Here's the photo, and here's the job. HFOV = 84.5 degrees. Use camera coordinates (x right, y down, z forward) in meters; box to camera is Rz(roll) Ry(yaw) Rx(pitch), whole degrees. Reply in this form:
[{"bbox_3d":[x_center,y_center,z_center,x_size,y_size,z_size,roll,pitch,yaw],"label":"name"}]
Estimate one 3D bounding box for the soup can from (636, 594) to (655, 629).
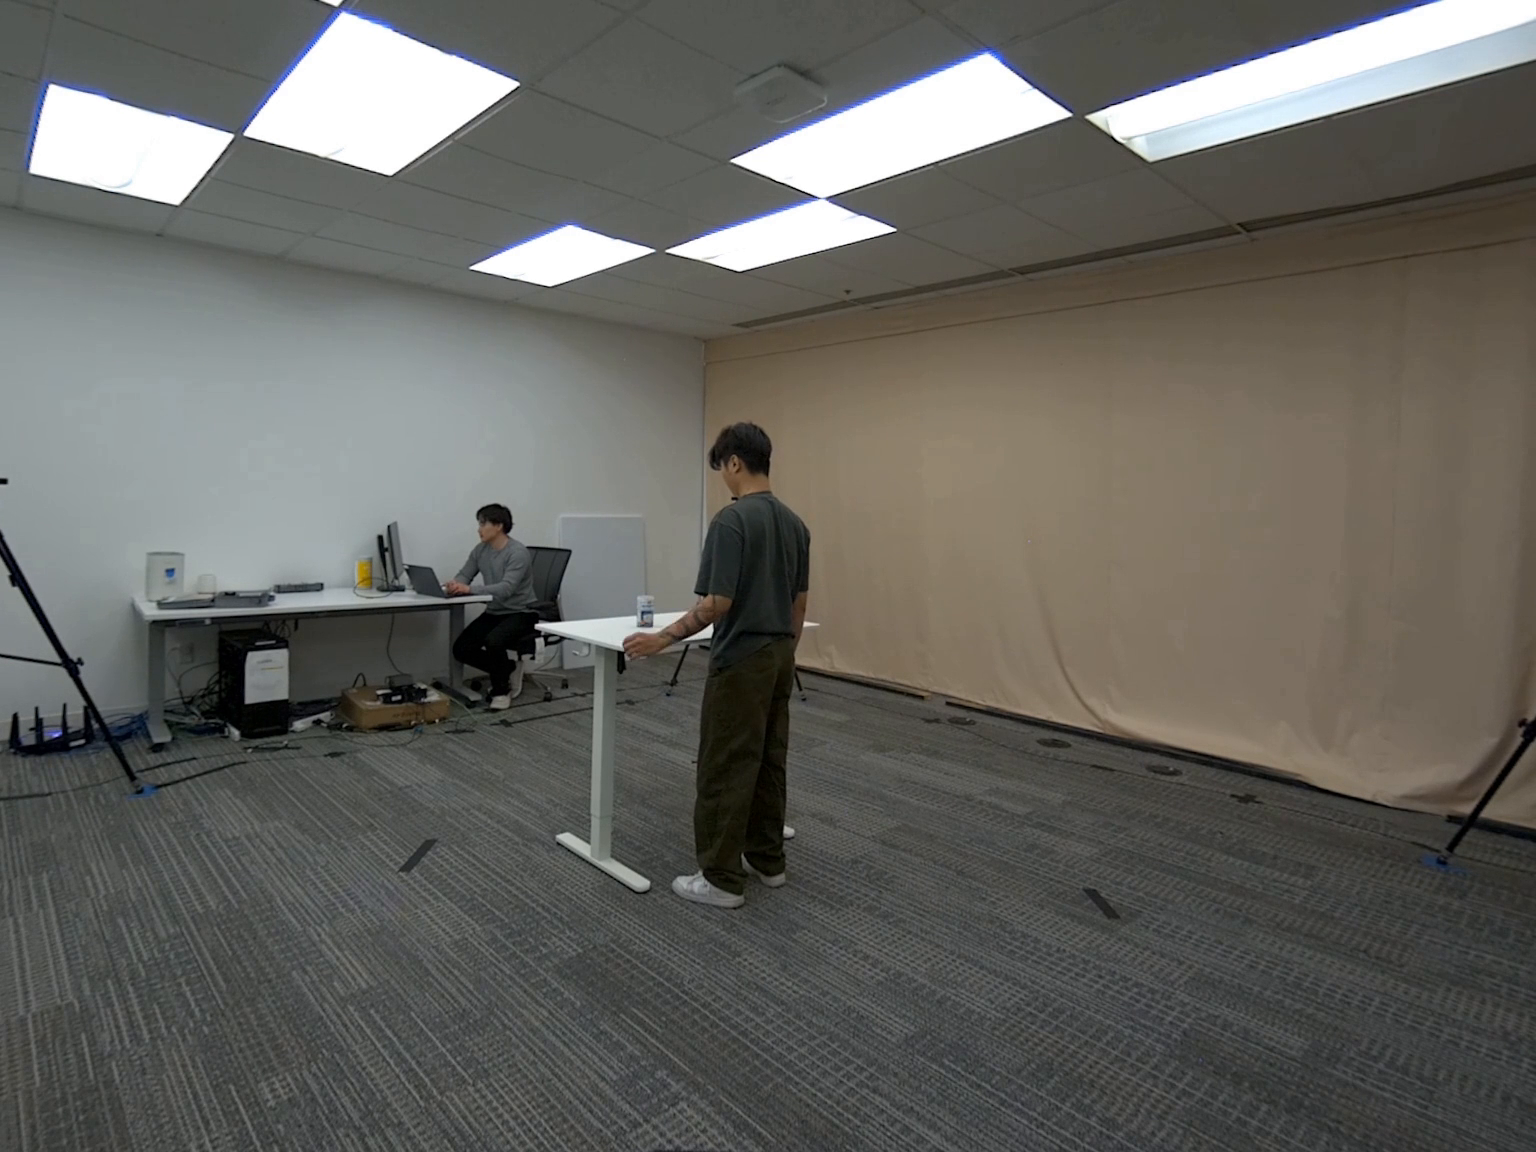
[{"bbox_3d":[-0.480,0.141,3.288,0.067,0.121,0.067,3,3,-2],"label":"soup can"}]
